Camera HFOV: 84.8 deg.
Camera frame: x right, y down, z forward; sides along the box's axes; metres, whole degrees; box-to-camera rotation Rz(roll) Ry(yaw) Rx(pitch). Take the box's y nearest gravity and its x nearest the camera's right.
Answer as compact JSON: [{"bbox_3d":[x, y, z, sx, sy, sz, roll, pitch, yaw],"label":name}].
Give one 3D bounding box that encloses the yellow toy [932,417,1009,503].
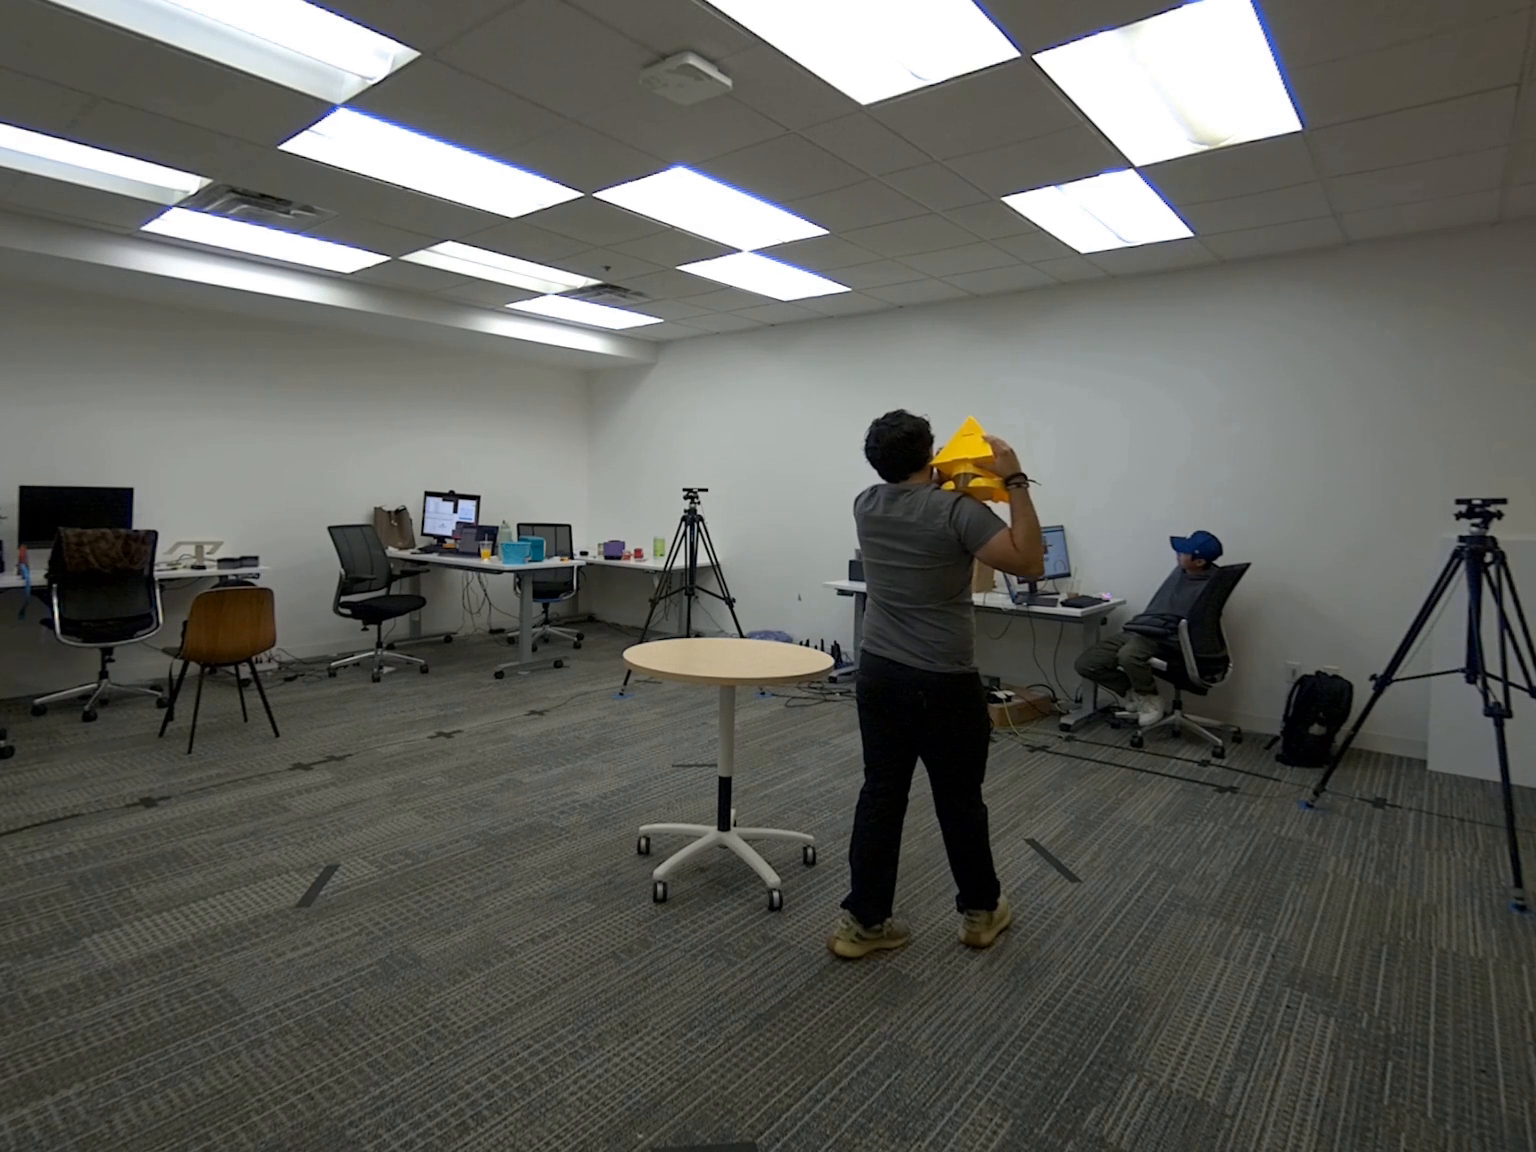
[{"bbox_3d":[0.614,-0.350,2.518,0.211,0.233,0.185,-4,-20,45],"label":"yellow toy"}]
